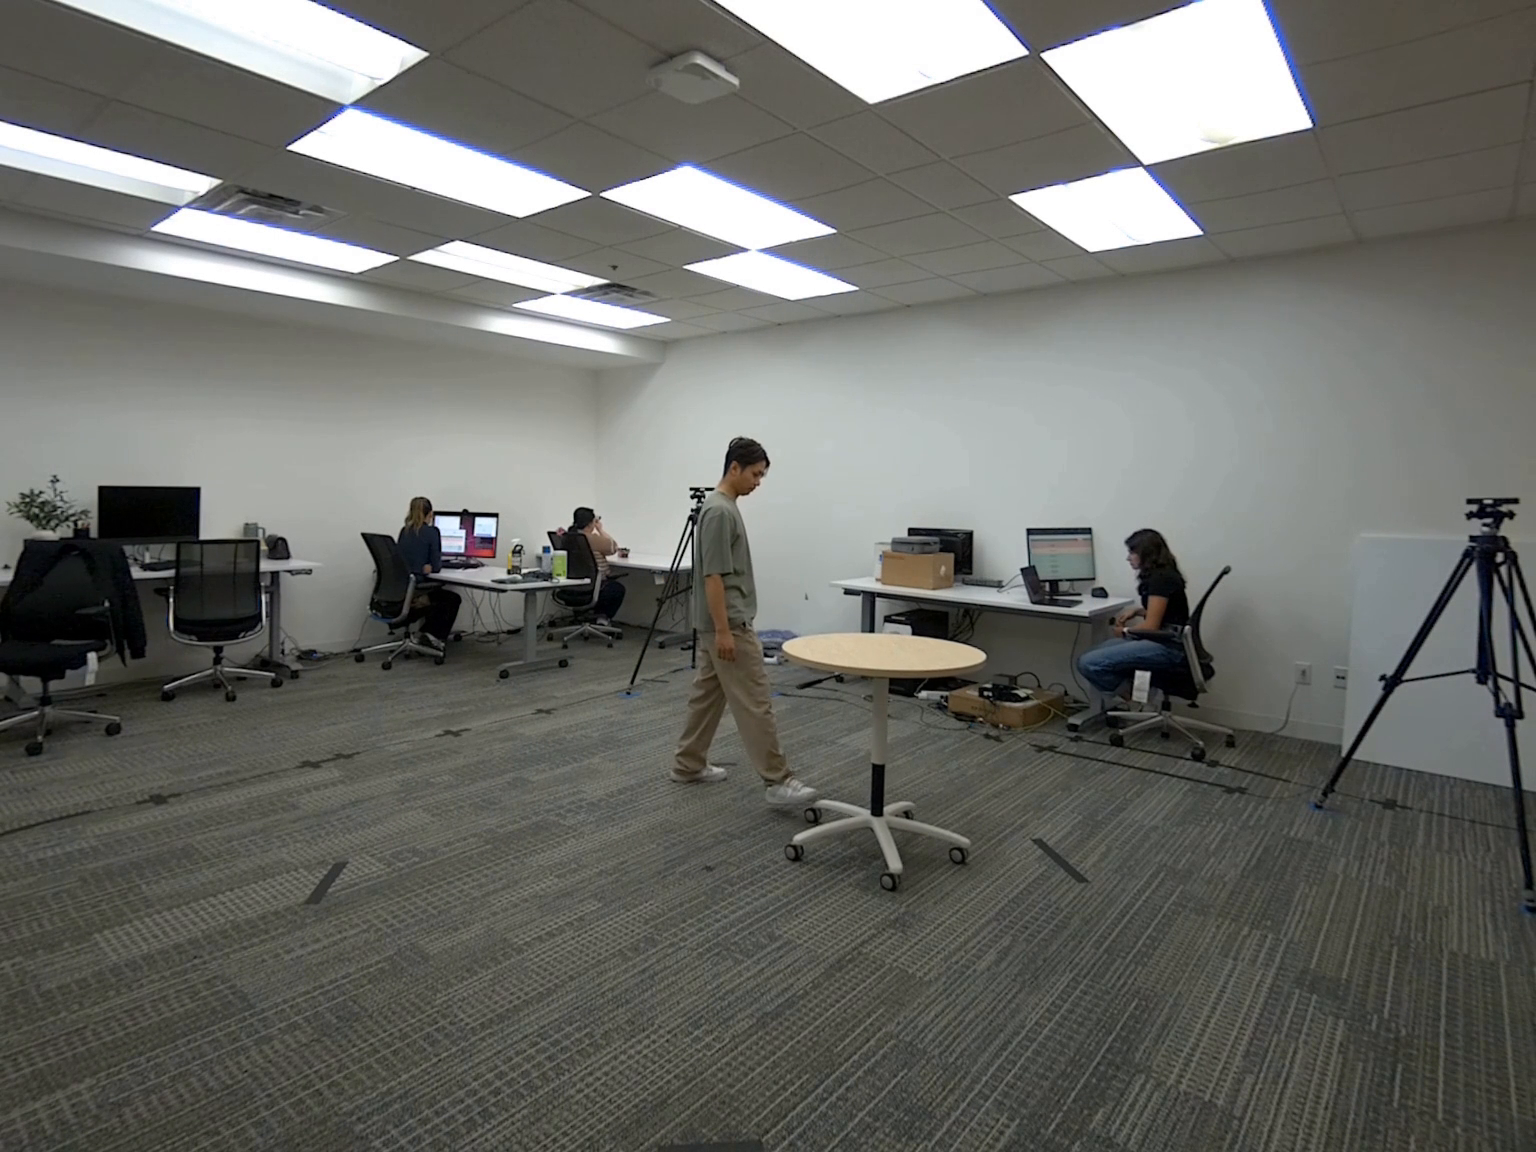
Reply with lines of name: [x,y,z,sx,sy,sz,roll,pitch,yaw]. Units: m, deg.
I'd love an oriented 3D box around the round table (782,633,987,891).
round table: [0.396,0.667,3.286,0.784,0.784,0.789,1,4,-2]
